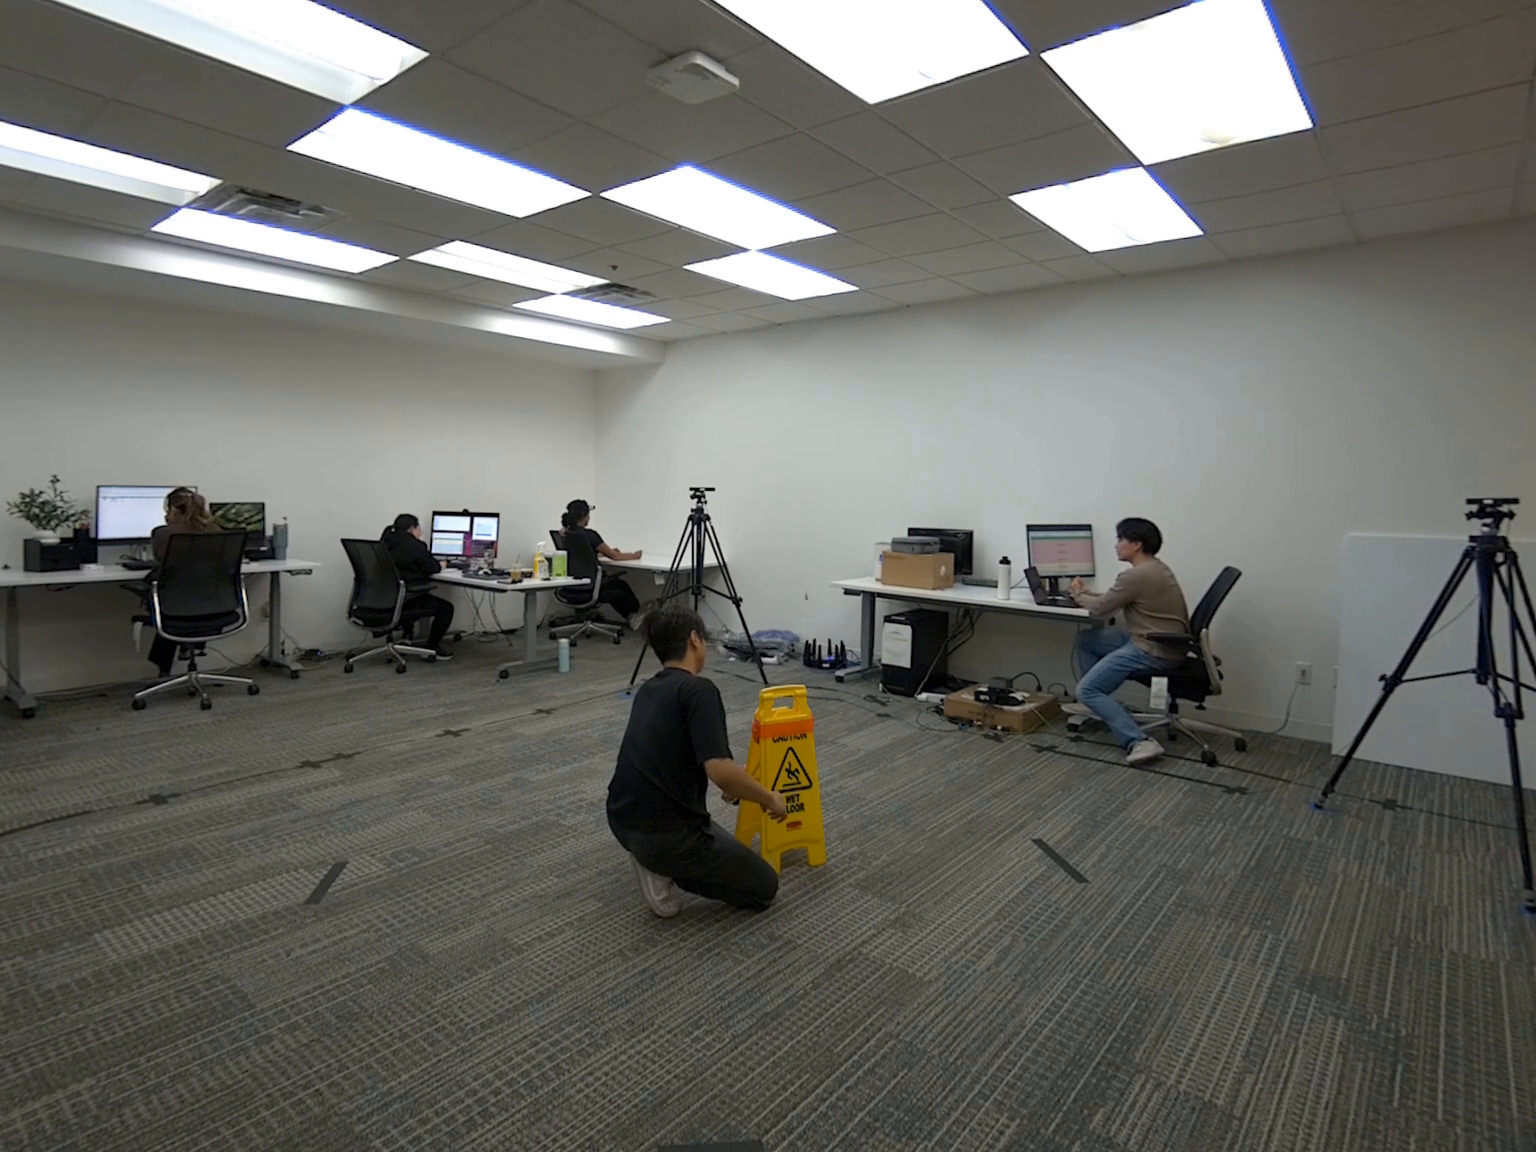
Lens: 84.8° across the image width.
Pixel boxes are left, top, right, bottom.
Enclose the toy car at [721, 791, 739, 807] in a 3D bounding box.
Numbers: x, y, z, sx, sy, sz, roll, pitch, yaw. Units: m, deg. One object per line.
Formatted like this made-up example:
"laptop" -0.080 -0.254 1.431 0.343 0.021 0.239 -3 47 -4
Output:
"toy car" -0.092 0.790 3.377 0.086 0.255 0.125 28 -16 28
